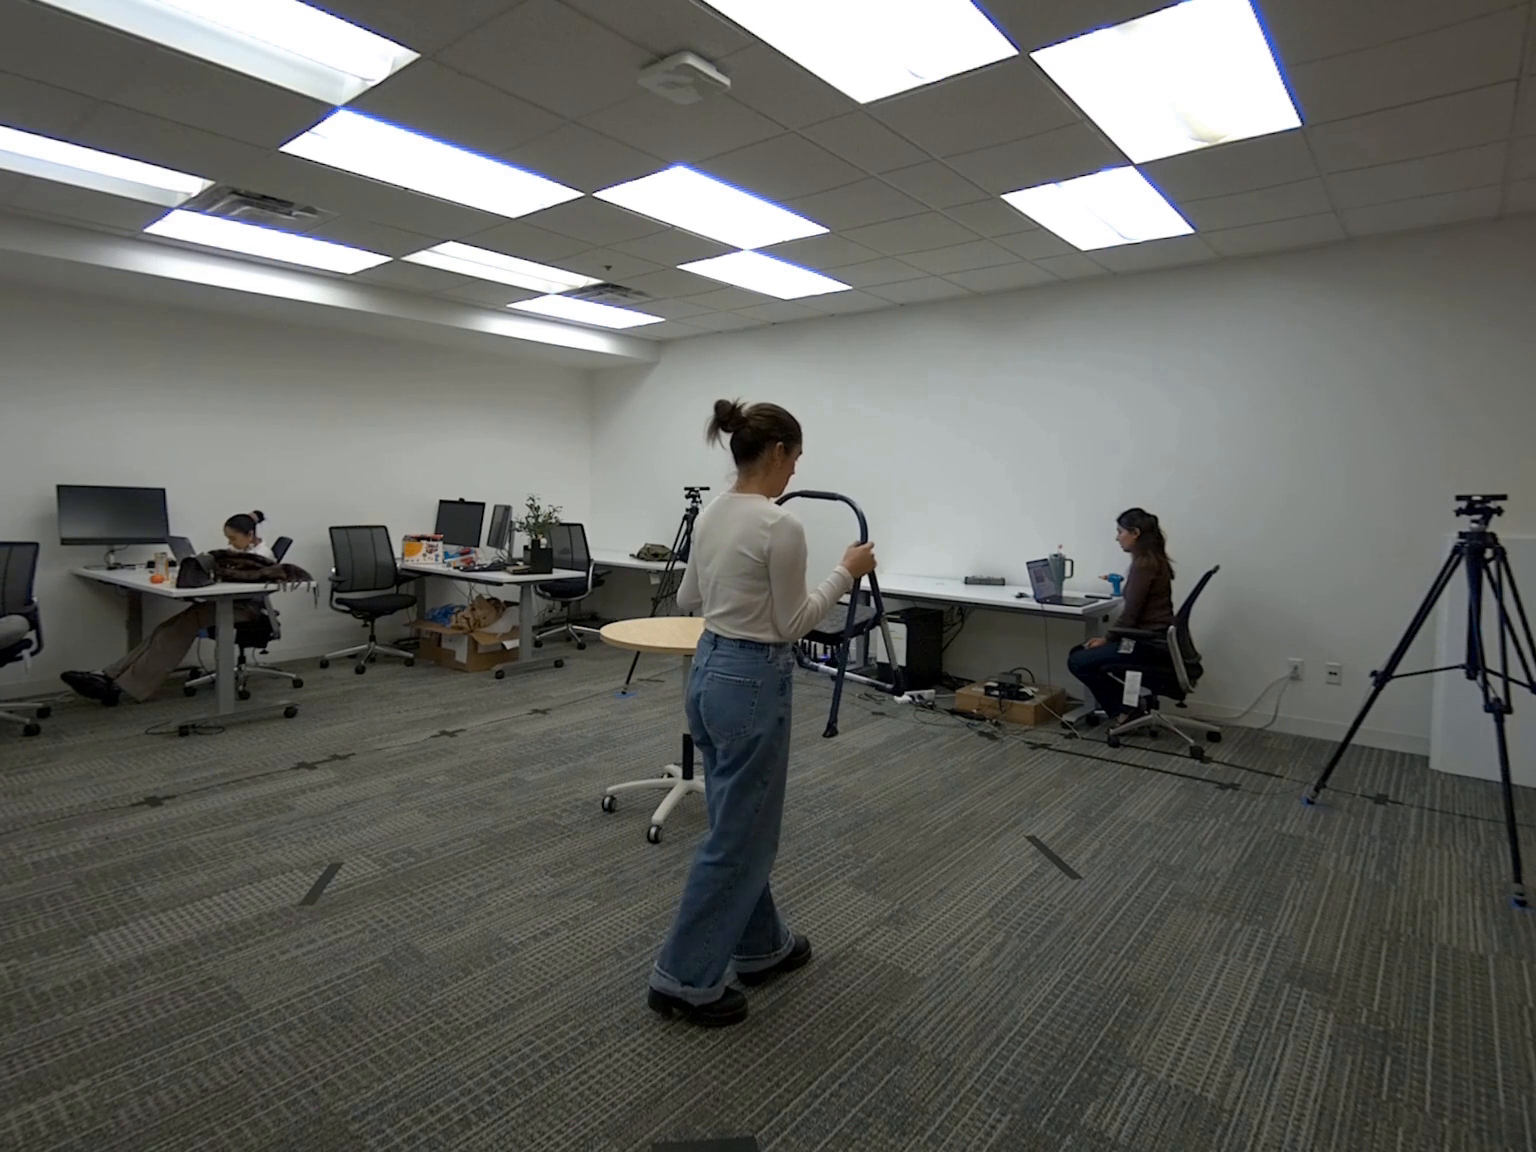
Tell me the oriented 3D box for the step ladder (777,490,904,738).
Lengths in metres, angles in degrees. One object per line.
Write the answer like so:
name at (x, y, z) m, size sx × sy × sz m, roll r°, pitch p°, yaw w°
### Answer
step ladder at (0.111, 0.067, 2.454) m, size 0.341 × 0.598 × 0.446 m, roll -16°, pitch 19°, yaw -42°
